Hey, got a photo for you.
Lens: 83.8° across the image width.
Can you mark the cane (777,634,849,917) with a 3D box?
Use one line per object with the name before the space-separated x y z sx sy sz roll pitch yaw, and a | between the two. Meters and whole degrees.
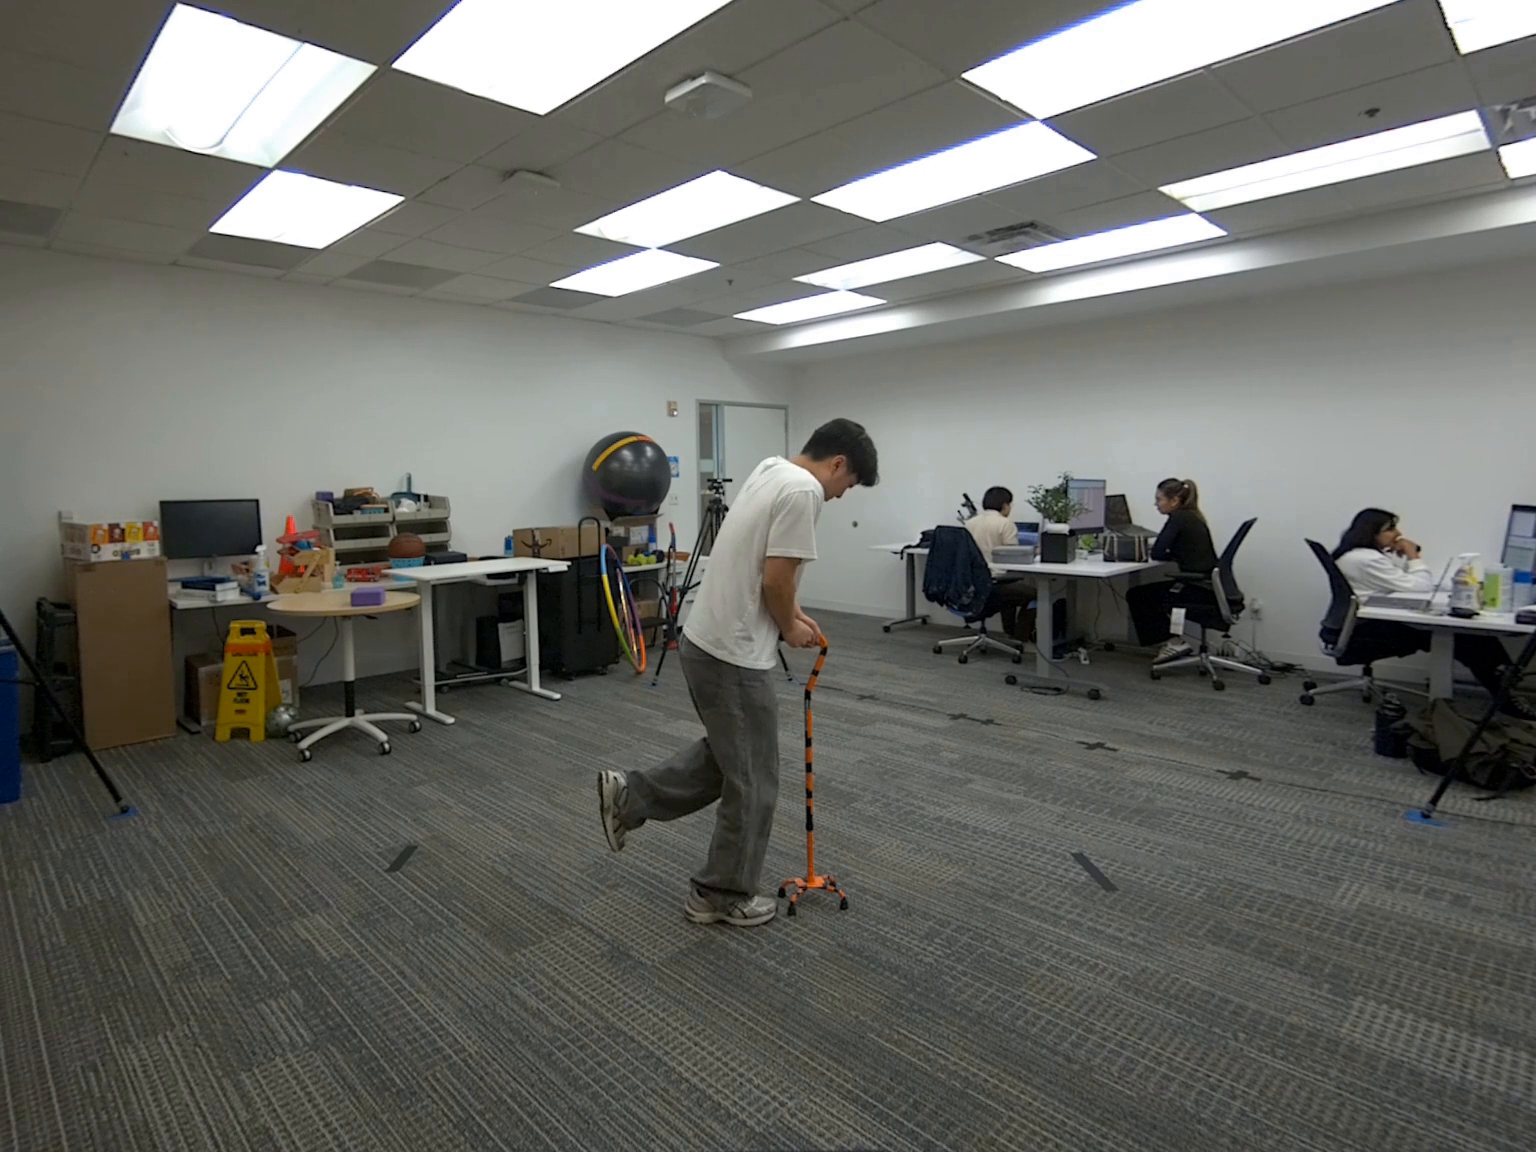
cane | 0.149 0.635 2.795 0.204 0.905 0.154 -1 3 -12
